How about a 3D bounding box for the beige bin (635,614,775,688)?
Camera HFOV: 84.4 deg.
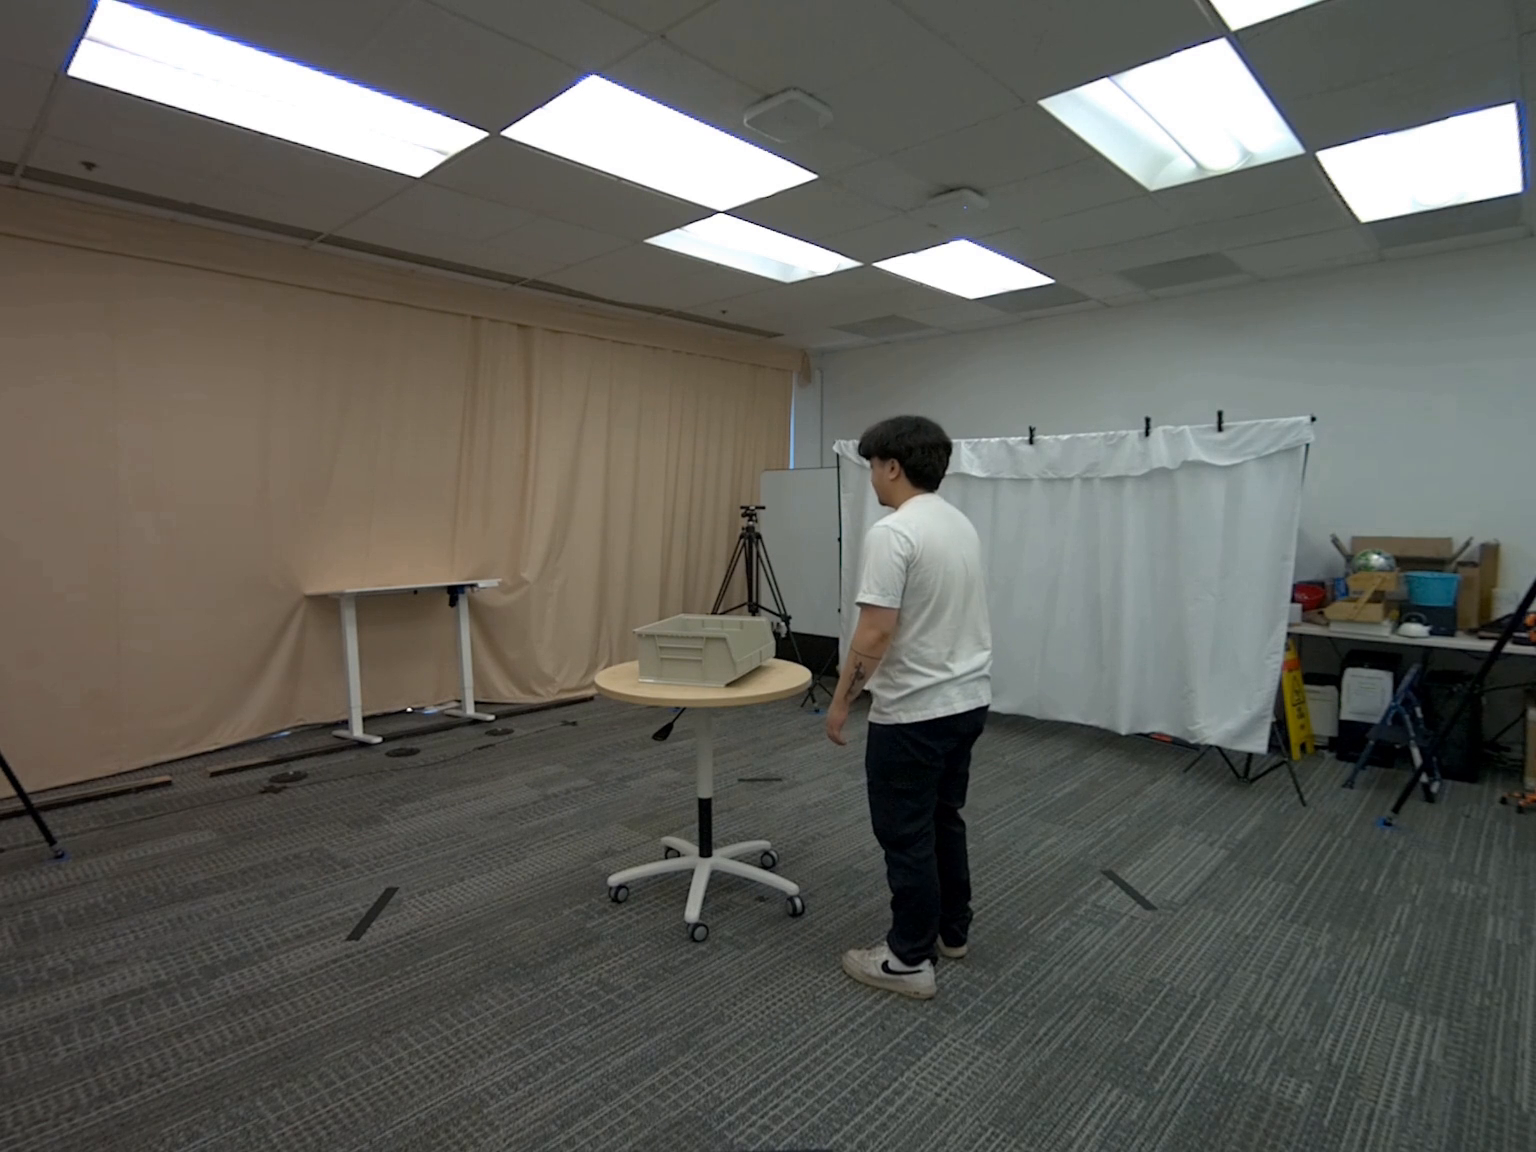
[{"bbox_3d":[-0.217,0.260,2.989,0.385,0.188,0.415,0,5,19],"label":"beige bin"}]
